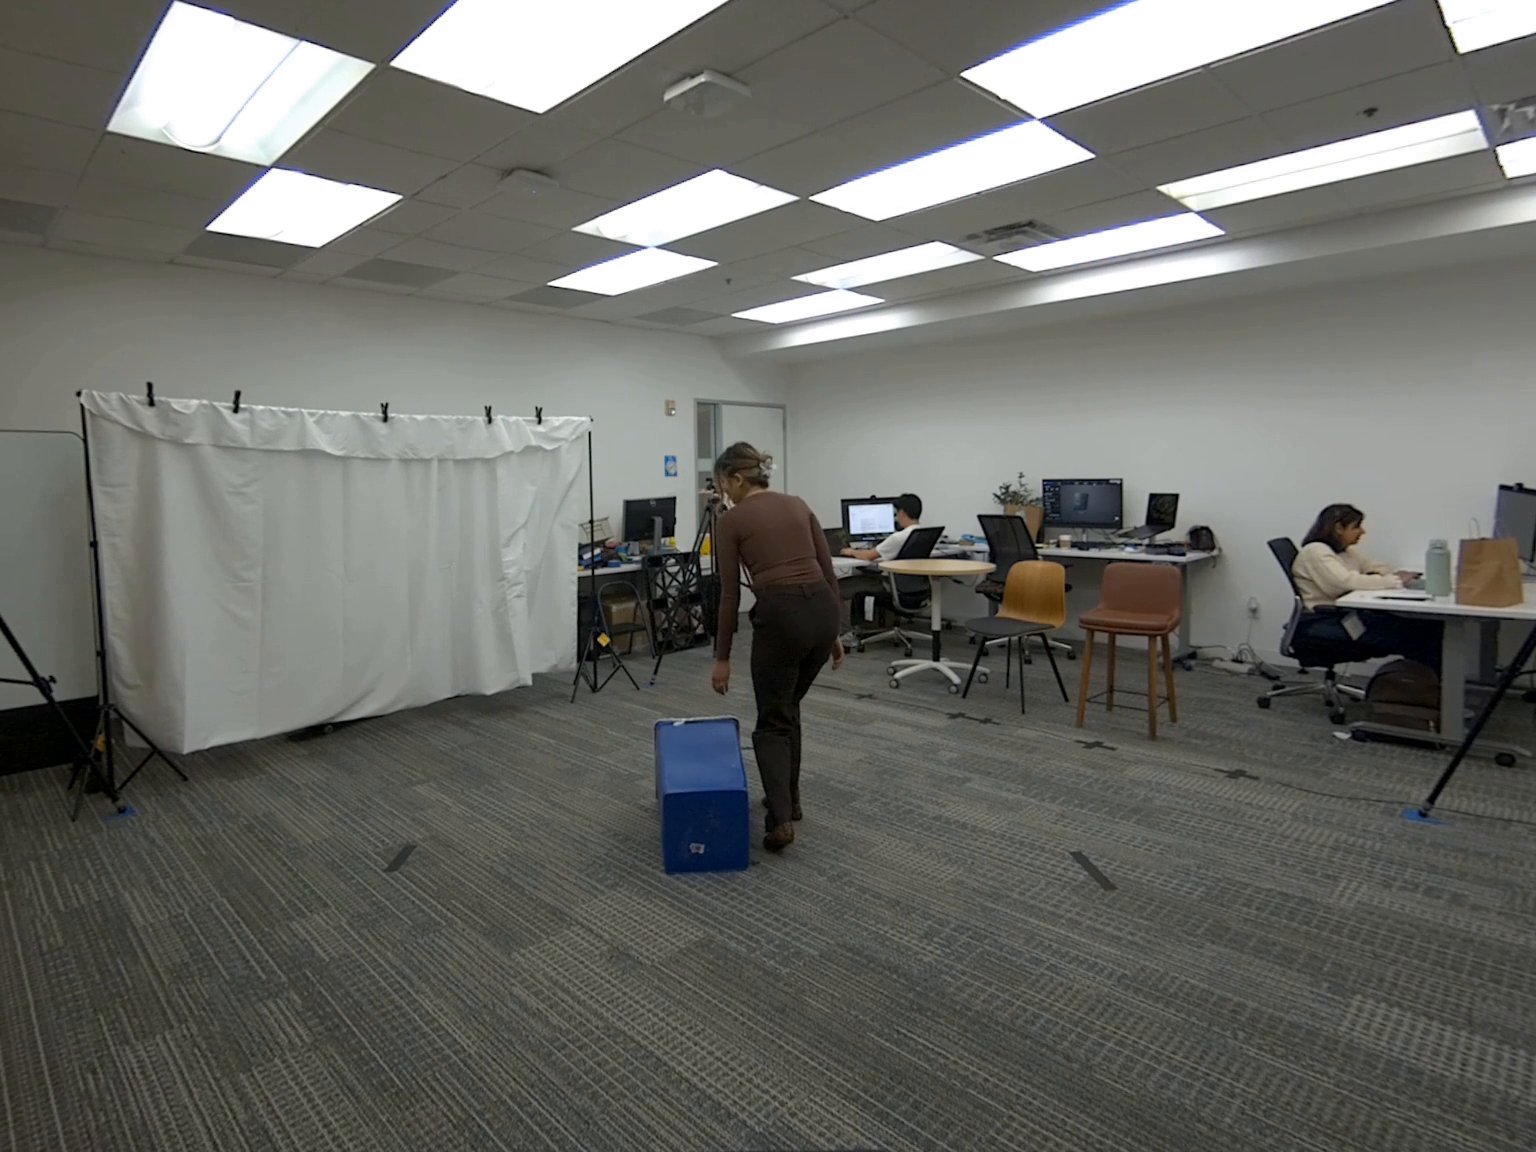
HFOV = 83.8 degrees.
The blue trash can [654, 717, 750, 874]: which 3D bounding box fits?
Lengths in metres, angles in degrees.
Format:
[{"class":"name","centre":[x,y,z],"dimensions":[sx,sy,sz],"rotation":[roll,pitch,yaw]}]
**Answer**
[{"class":"blue trash can","centre":[-0.260,0.853,3.369],"dimensions":[0.372,0.375,0.723],"rotation":[-1,8,-8]}]
